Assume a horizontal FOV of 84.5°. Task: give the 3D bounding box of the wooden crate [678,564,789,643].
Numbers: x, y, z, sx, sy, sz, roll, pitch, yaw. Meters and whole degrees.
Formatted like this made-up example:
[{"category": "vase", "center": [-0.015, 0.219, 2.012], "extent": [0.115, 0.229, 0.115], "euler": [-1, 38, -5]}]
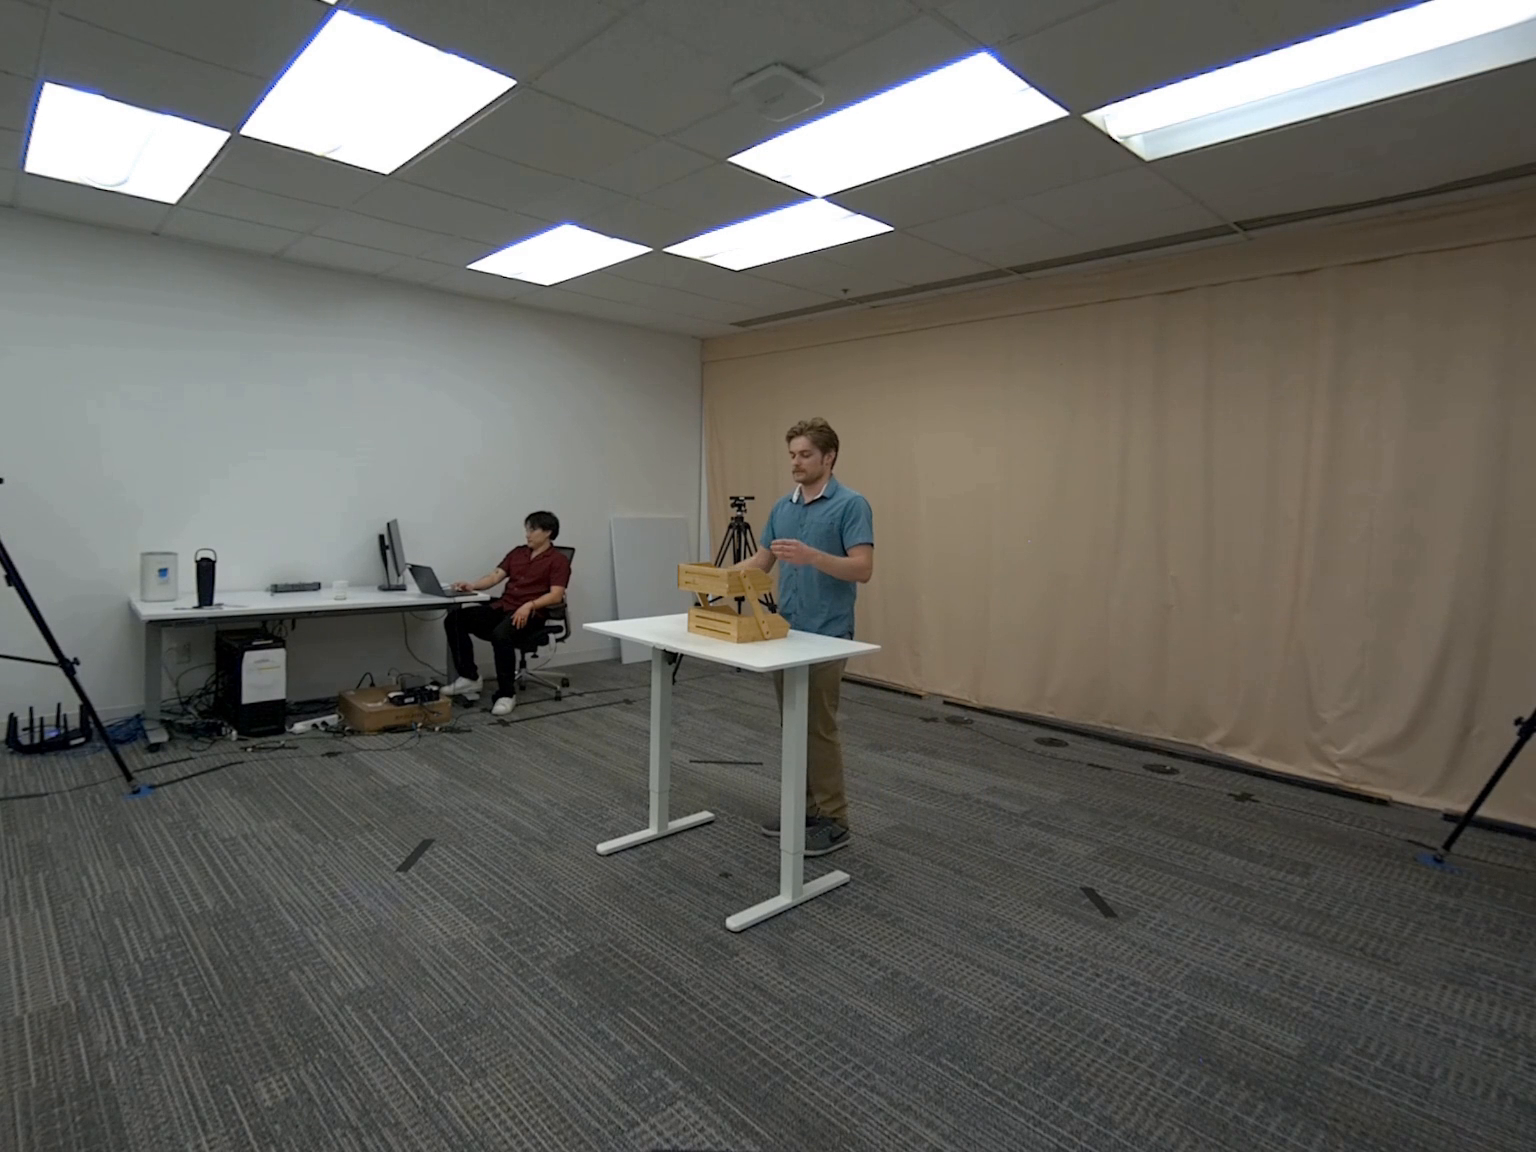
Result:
[{"category": "wooden crate", "center": [-0.134, 0.088, 3.115], "extent": [0.295, 0.272, 0.333], "euler": [-4, 7, -41]}]
